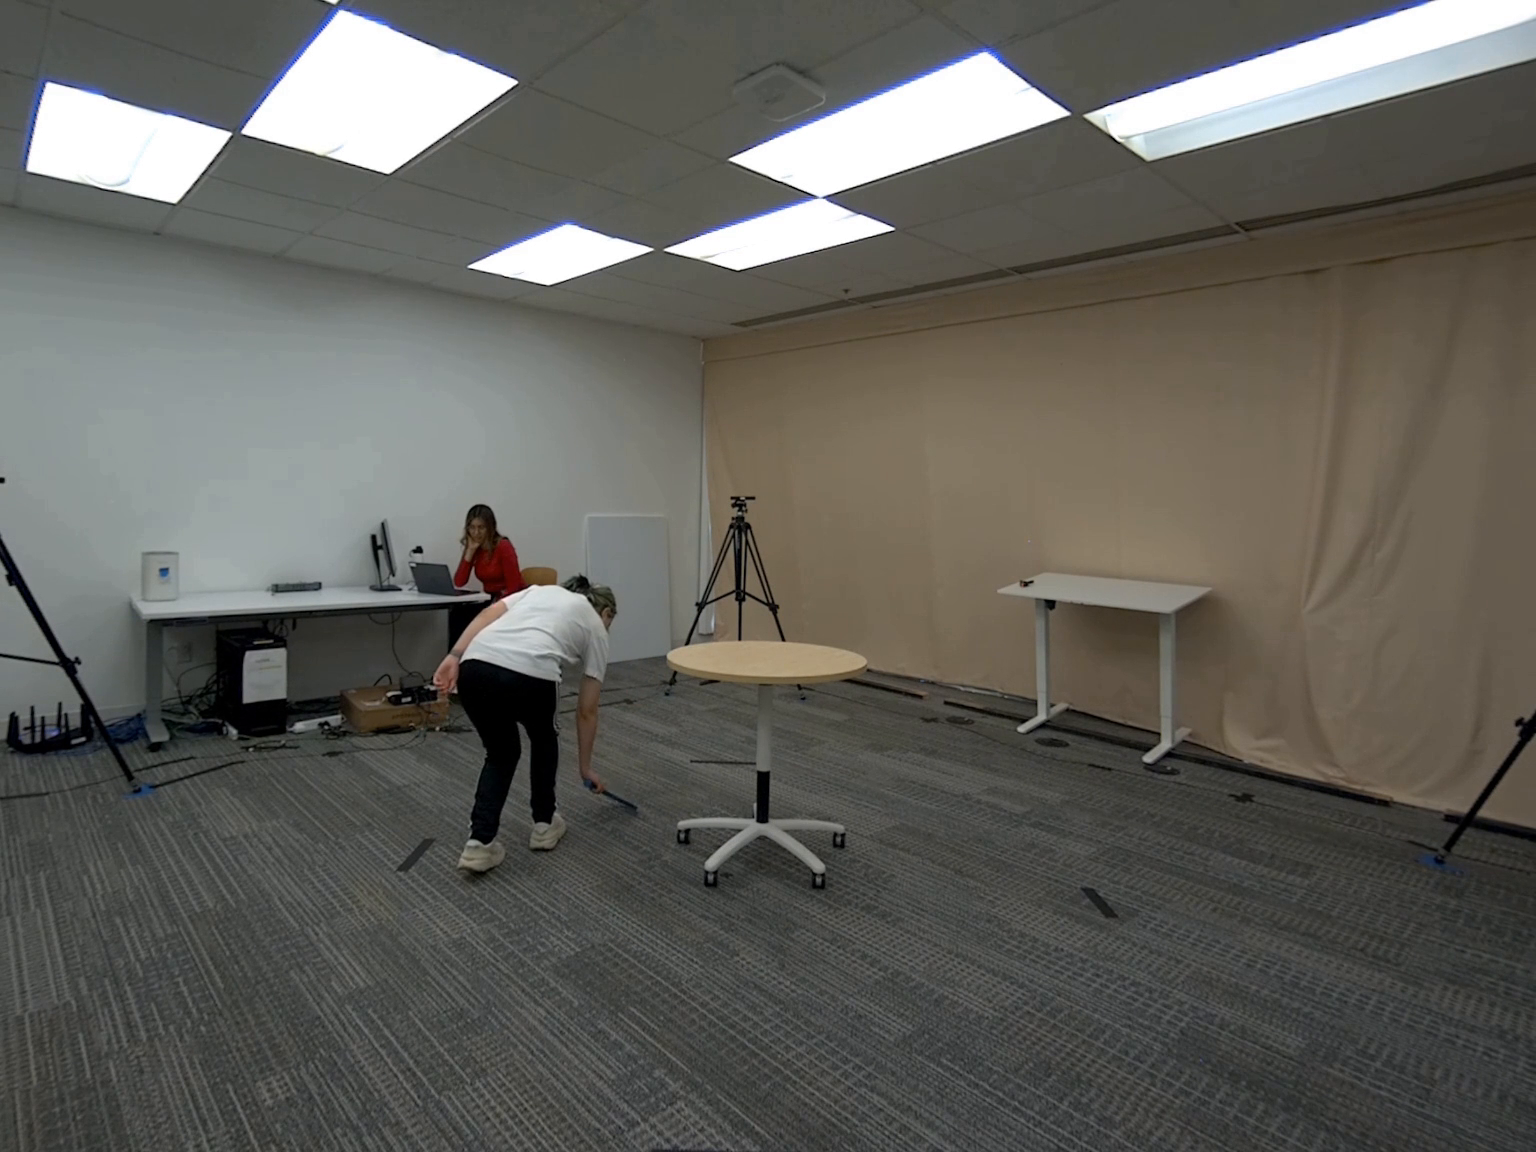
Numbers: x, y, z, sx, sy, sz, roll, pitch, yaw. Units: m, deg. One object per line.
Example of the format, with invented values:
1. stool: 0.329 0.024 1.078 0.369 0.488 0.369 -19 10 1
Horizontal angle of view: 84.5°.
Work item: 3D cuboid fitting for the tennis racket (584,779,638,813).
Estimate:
1. tennis racket: -0.693 0.932 3.604 0.219 0.032 0.420 16 -21 26
